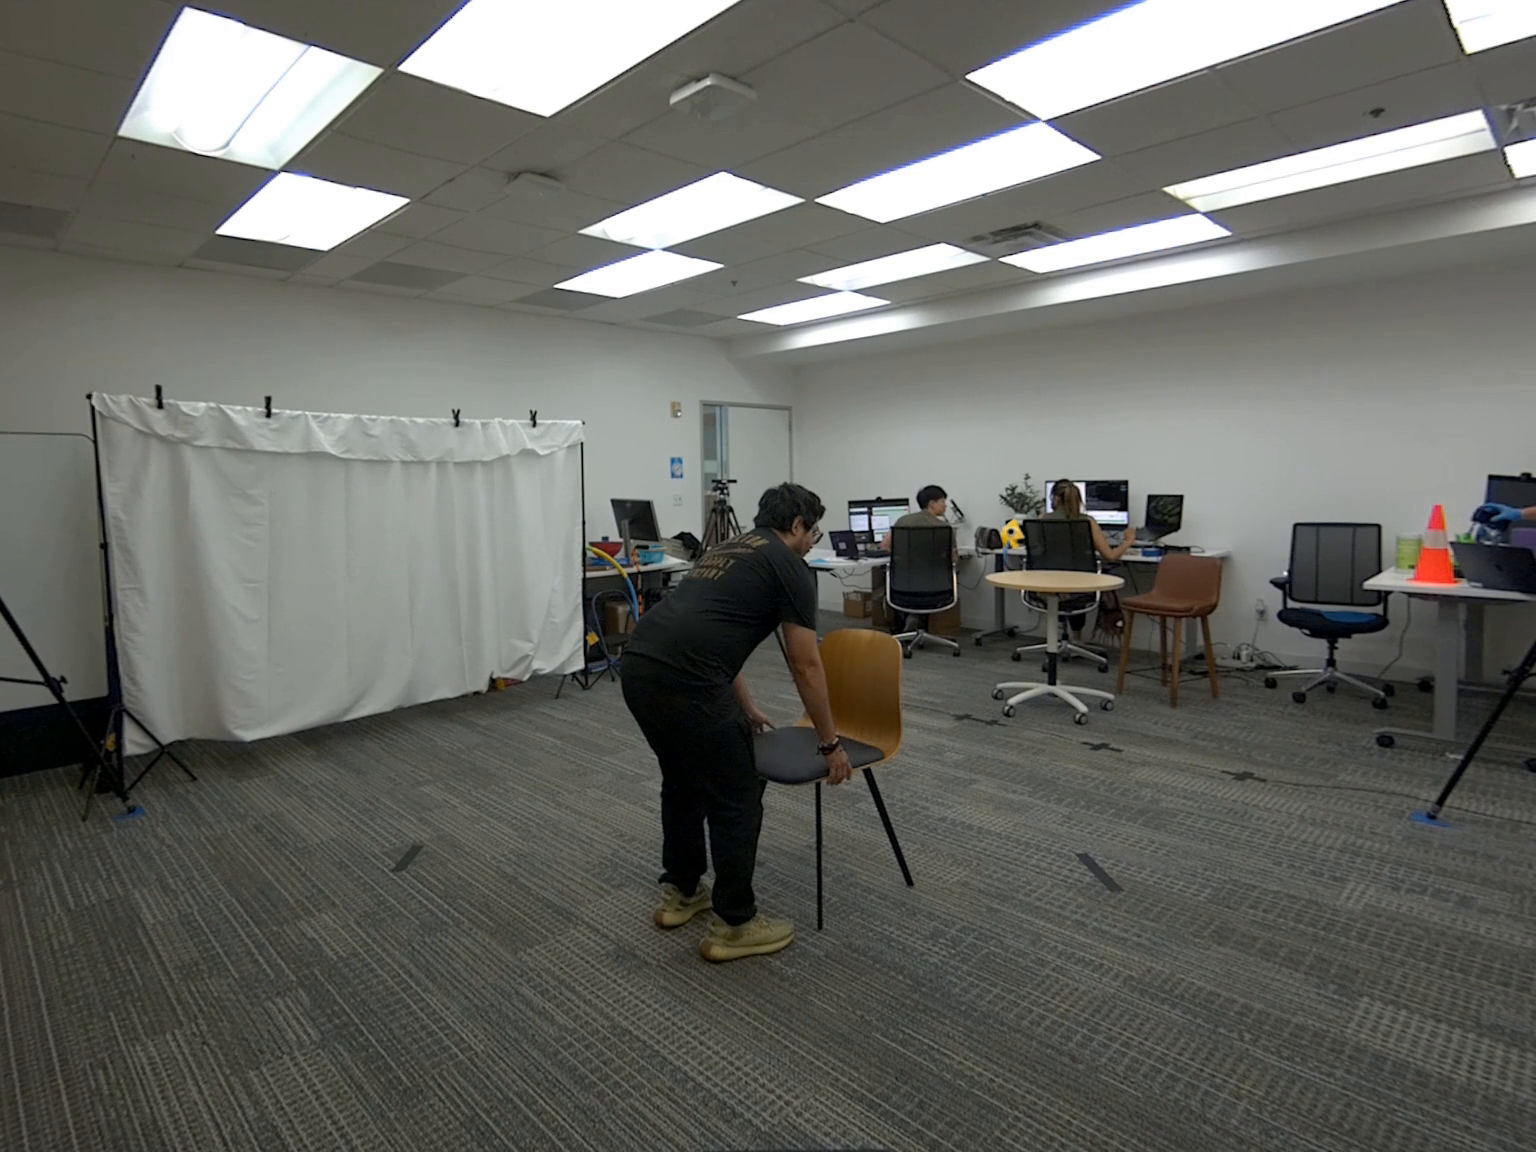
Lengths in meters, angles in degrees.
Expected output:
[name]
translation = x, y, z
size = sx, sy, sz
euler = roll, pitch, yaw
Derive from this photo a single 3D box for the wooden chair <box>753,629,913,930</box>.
[wooden chair]
translation = 0.170, 0.634, 2.919
size = 0.508, 0.877, 0.492
euler = 2, 2, -40
